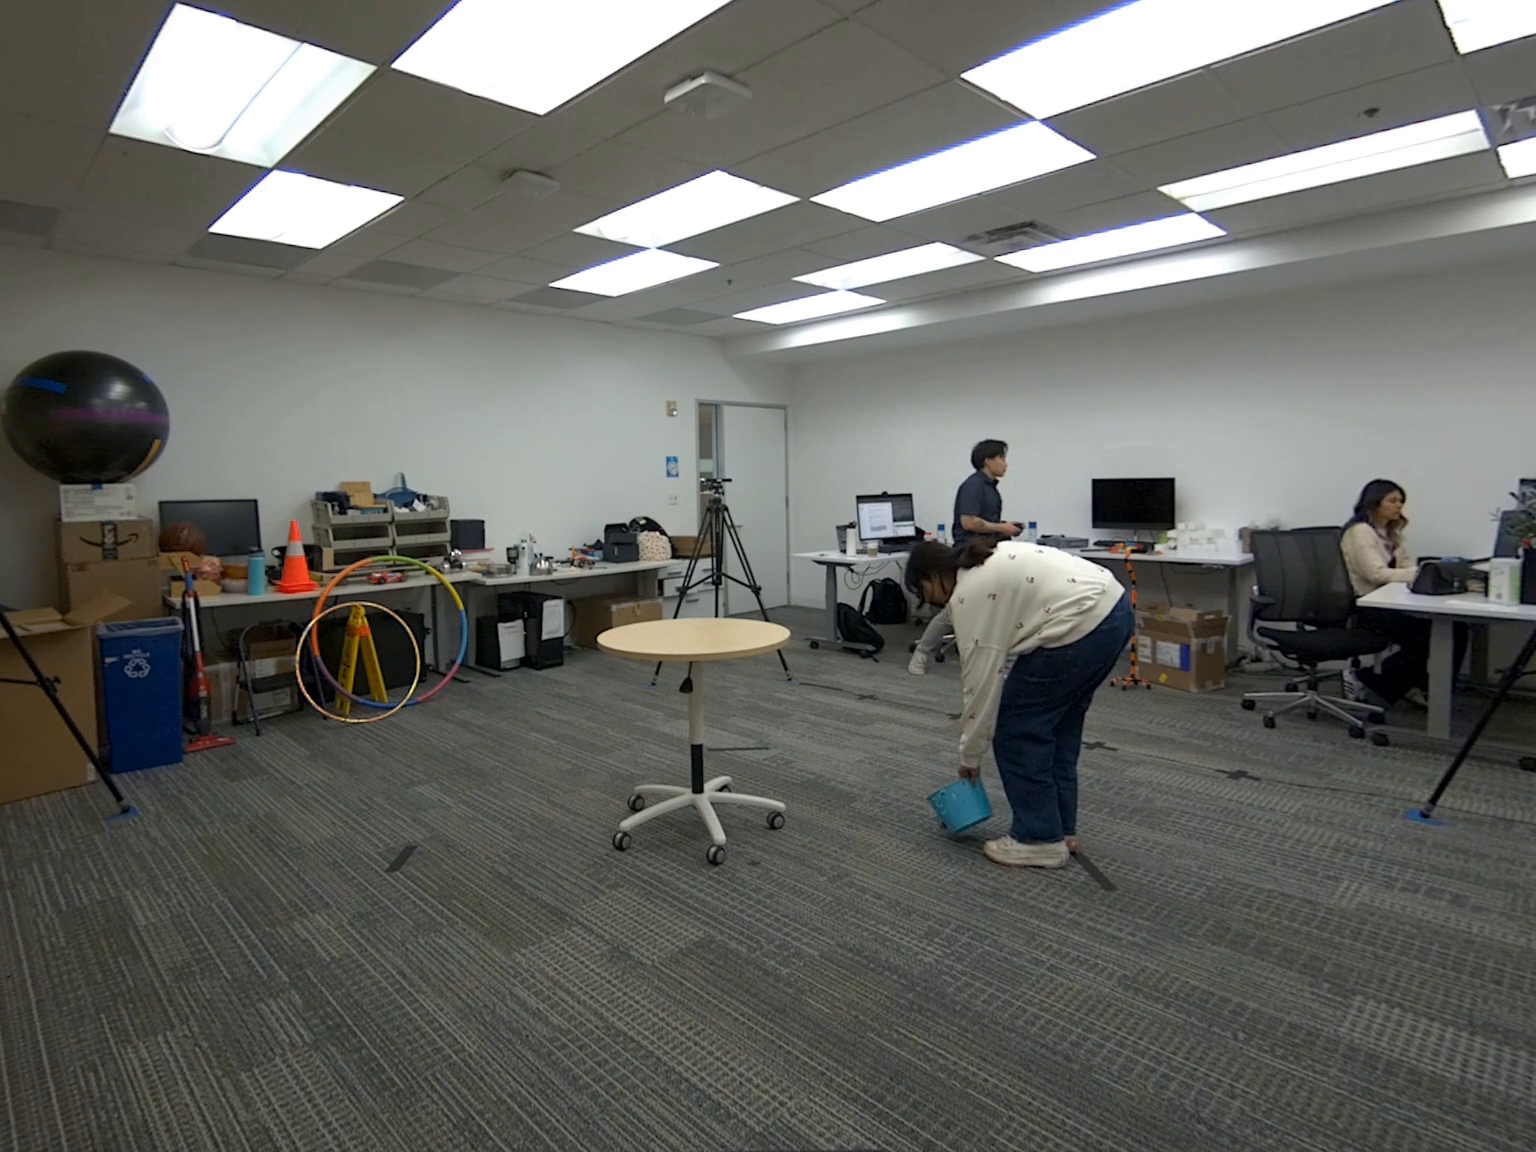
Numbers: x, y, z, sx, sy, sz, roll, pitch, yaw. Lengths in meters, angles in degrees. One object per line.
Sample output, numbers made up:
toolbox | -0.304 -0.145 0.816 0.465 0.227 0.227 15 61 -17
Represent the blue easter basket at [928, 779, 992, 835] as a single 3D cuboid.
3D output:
blue easter basket | 0.762 0.879 3.294 0.242 0.160 0.238 -19 -25 -11
